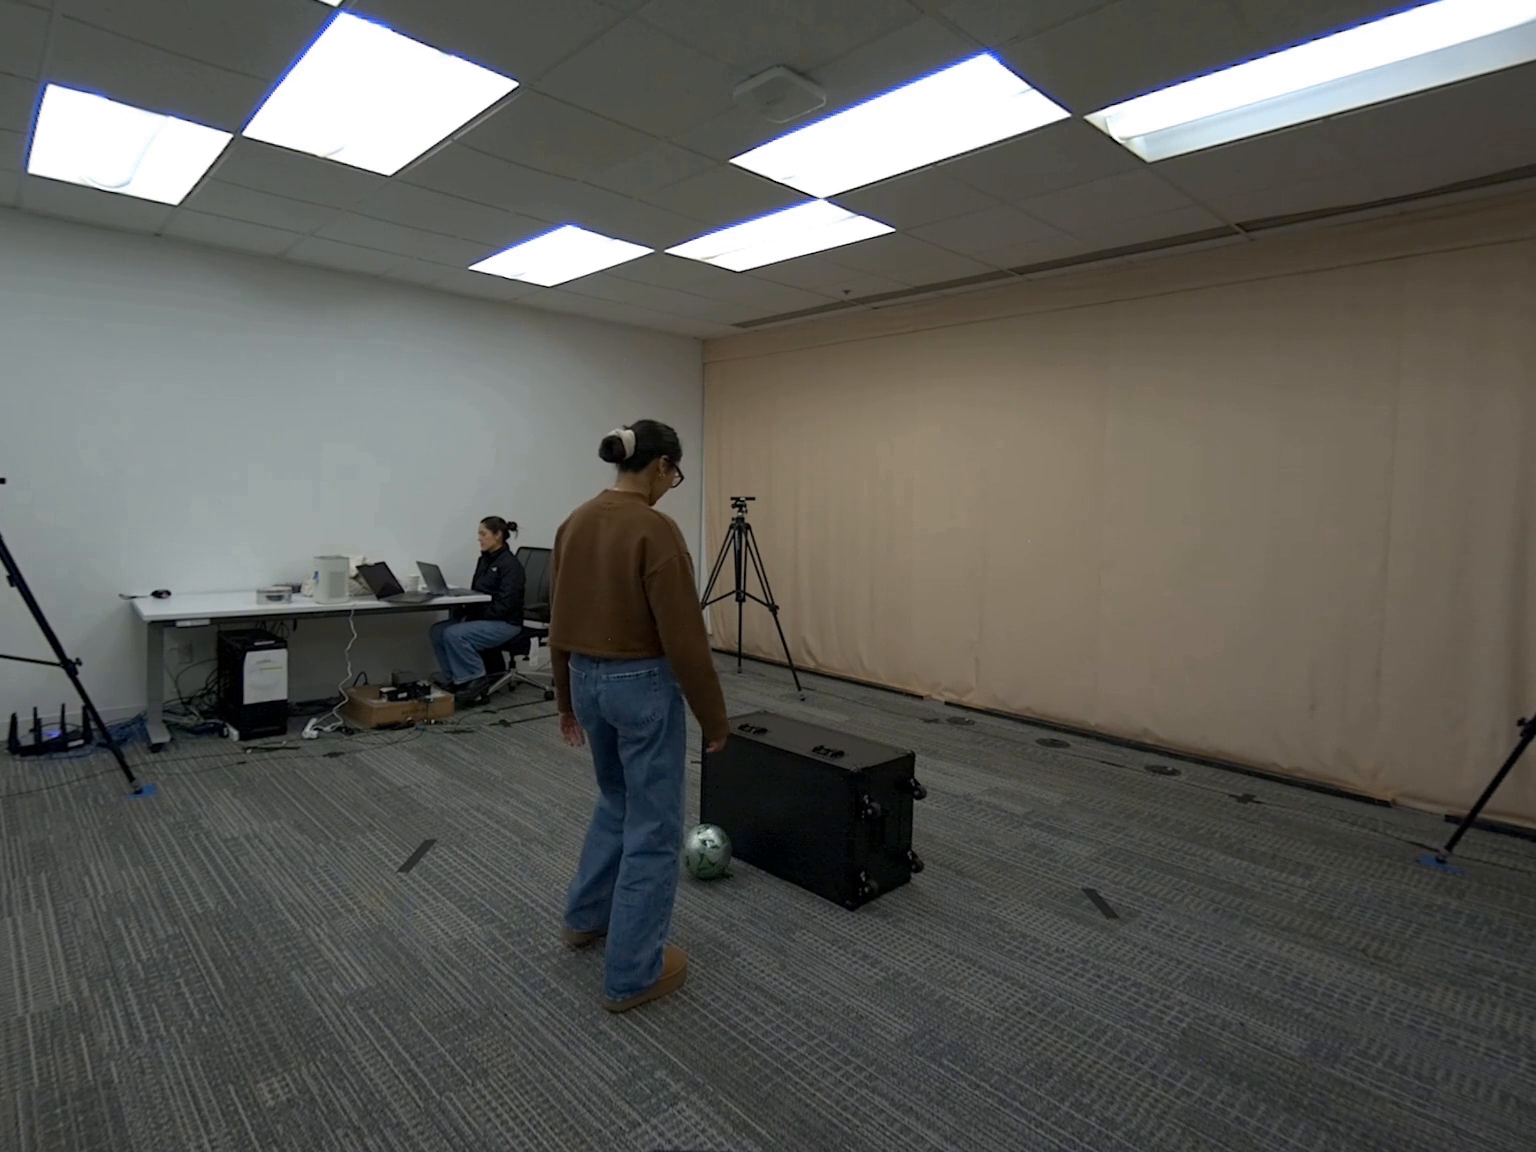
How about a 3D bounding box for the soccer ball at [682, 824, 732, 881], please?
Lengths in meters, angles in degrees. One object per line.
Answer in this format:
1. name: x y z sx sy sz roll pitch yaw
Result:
1. soccer ball: -0.233 1.003 3.098 0.187 0.187 0.188 1 4 -1
